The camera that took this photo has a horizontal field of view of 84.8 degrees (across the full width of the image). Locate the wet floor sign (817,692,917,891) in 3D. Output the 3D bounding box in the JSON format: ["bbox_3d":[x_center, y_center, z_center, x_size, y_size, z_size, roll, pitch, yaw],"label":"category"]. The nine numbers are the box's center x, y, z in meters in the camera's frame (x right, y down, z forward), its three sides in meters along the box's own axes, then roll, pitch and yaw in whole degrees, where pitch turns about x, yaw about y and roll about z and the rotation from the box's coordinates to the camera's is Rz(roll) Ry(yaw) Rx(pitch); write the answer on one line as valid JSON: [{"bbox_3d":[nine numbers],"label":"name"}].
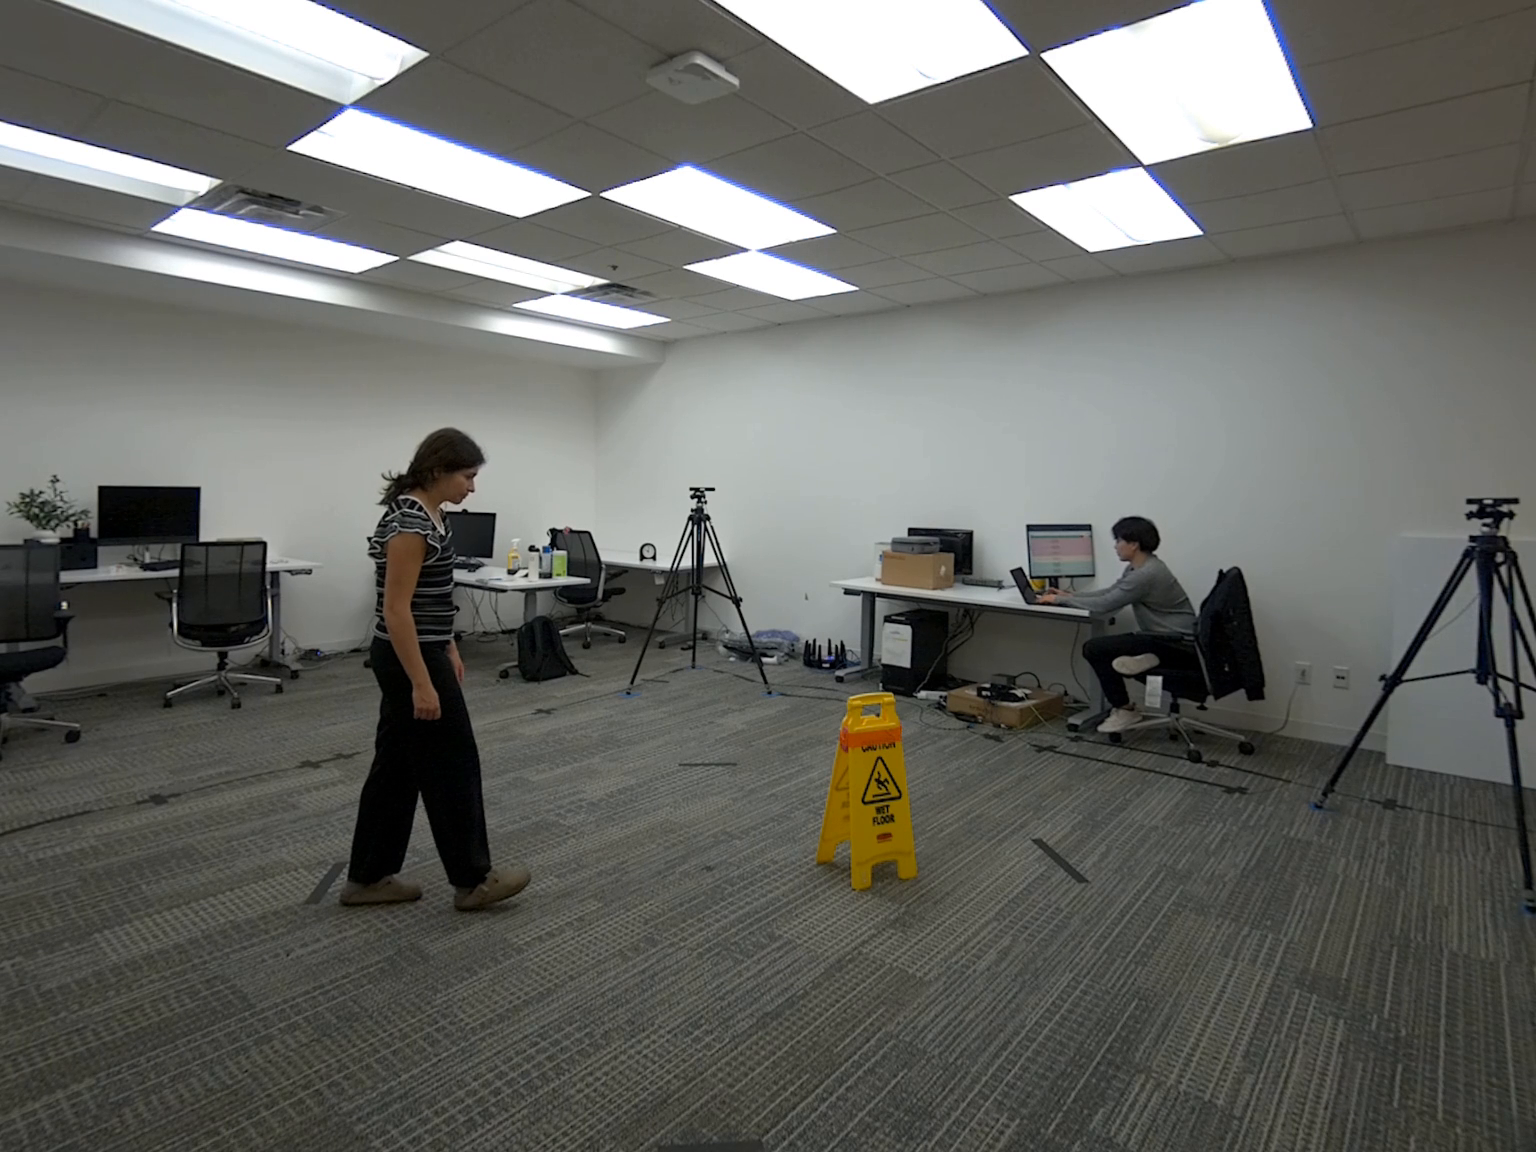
[{"bbox_3d":[0.363,0.758,3.112,0.275,0.644,0.298,0,4,-28],"label":"wet floor sign"}]
